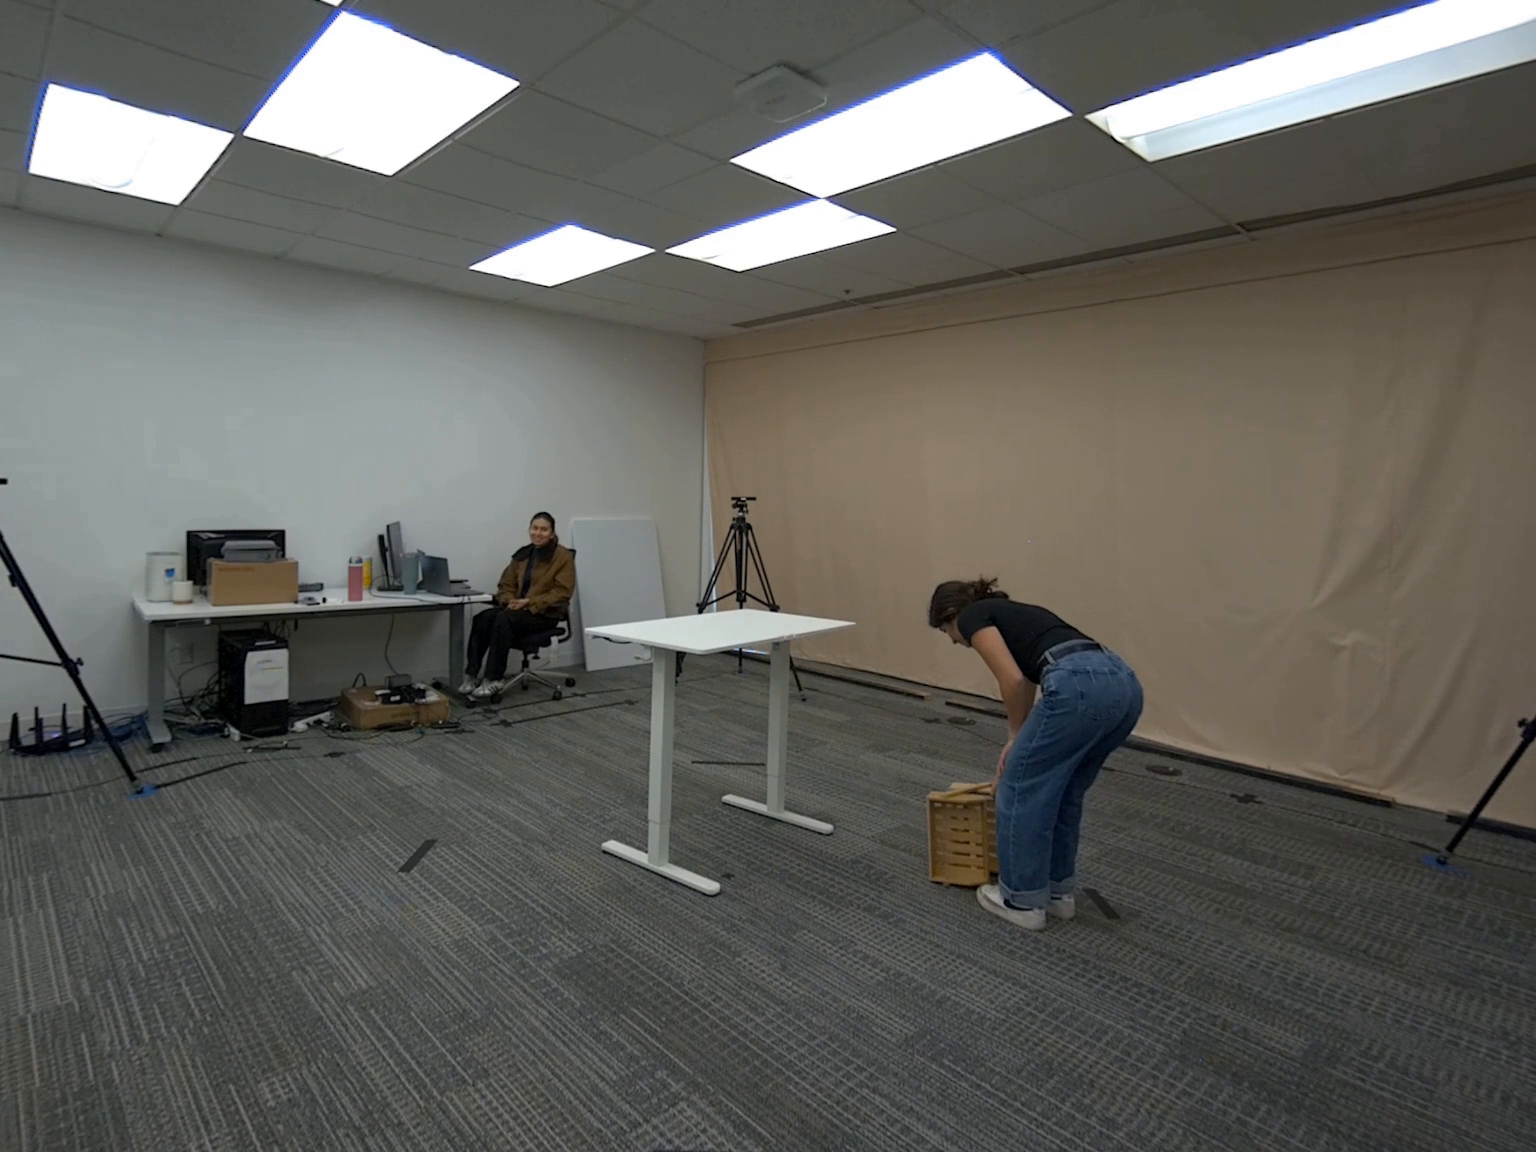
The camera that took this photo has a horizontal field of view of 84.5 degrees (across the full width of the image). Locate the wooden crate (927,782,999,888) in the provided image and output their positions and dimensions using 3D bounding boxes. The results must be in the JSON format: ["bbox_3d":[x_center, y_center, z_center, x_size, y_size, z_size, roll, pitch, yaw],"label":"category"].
[{"bbox_3d":[0.771,0.960,3.147,0.307,0.325,0.268,-3,-2,24],"label":"wooden crate"}]
